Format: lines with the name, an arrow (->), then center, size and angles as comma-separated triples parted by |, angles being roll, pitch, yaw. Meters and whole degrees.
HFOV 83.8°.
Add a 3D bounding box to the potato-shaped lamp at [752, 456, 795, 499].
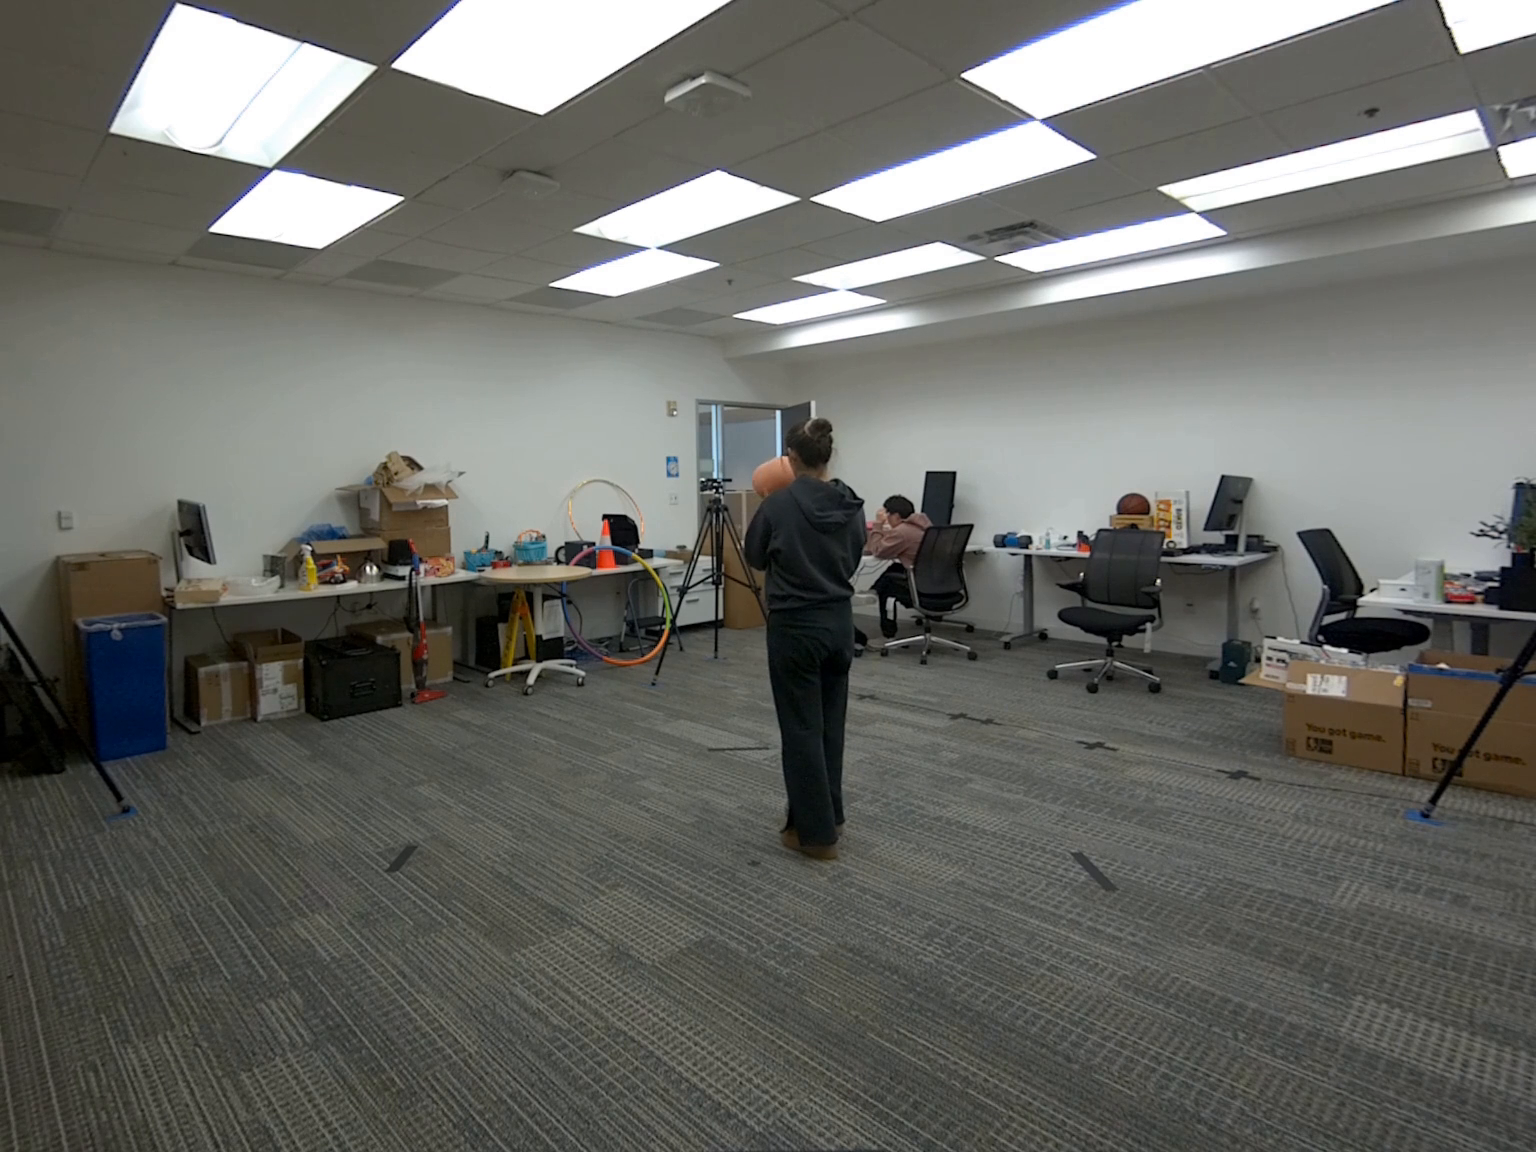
potato-shaped lamp -> 0.053, -0.401, 3.484 | 0.199, 0.163, 0.172 | -37, 7, 27
